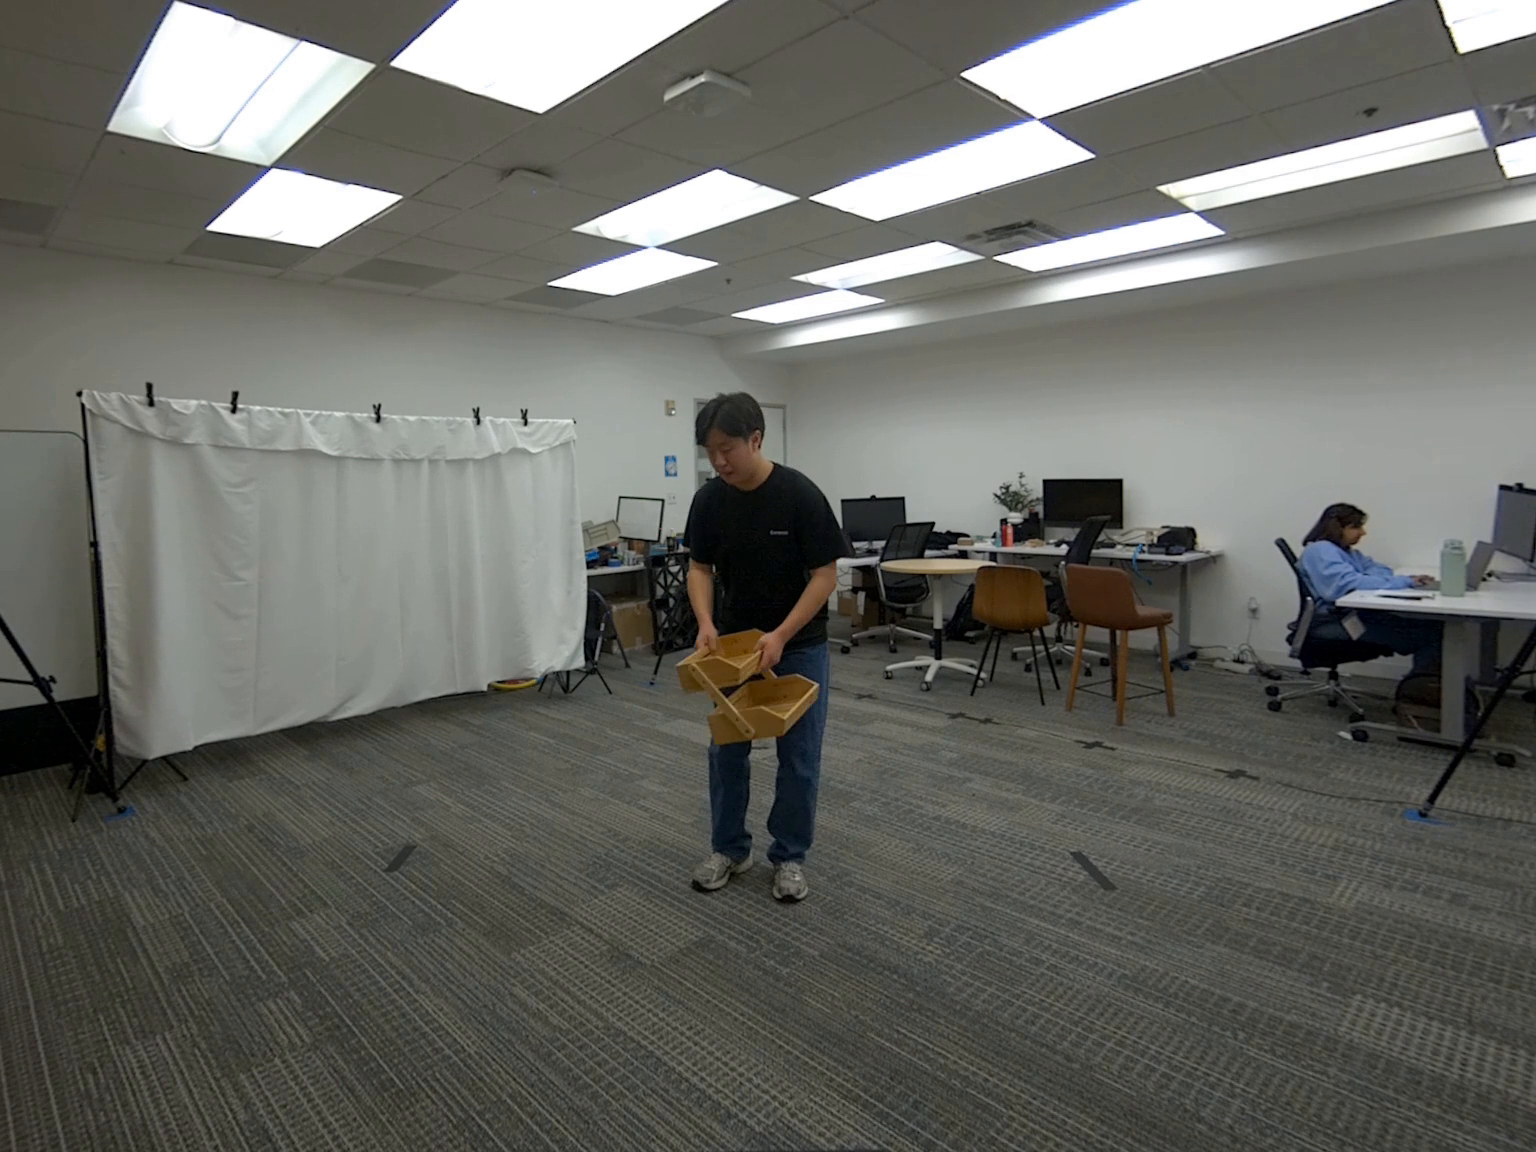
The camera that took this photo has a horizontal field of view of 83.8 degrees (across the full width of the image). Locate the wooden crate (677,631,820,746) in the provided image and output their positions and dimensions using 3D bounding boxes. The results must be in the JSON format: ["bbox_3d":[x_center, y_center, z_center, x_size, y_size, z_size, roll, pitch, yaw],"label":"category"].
[{"bbox_3d":[-0.058,0.336,2.632,0.307,0.272,0.321,-14,6,24],"label":"wooden crate"}]
